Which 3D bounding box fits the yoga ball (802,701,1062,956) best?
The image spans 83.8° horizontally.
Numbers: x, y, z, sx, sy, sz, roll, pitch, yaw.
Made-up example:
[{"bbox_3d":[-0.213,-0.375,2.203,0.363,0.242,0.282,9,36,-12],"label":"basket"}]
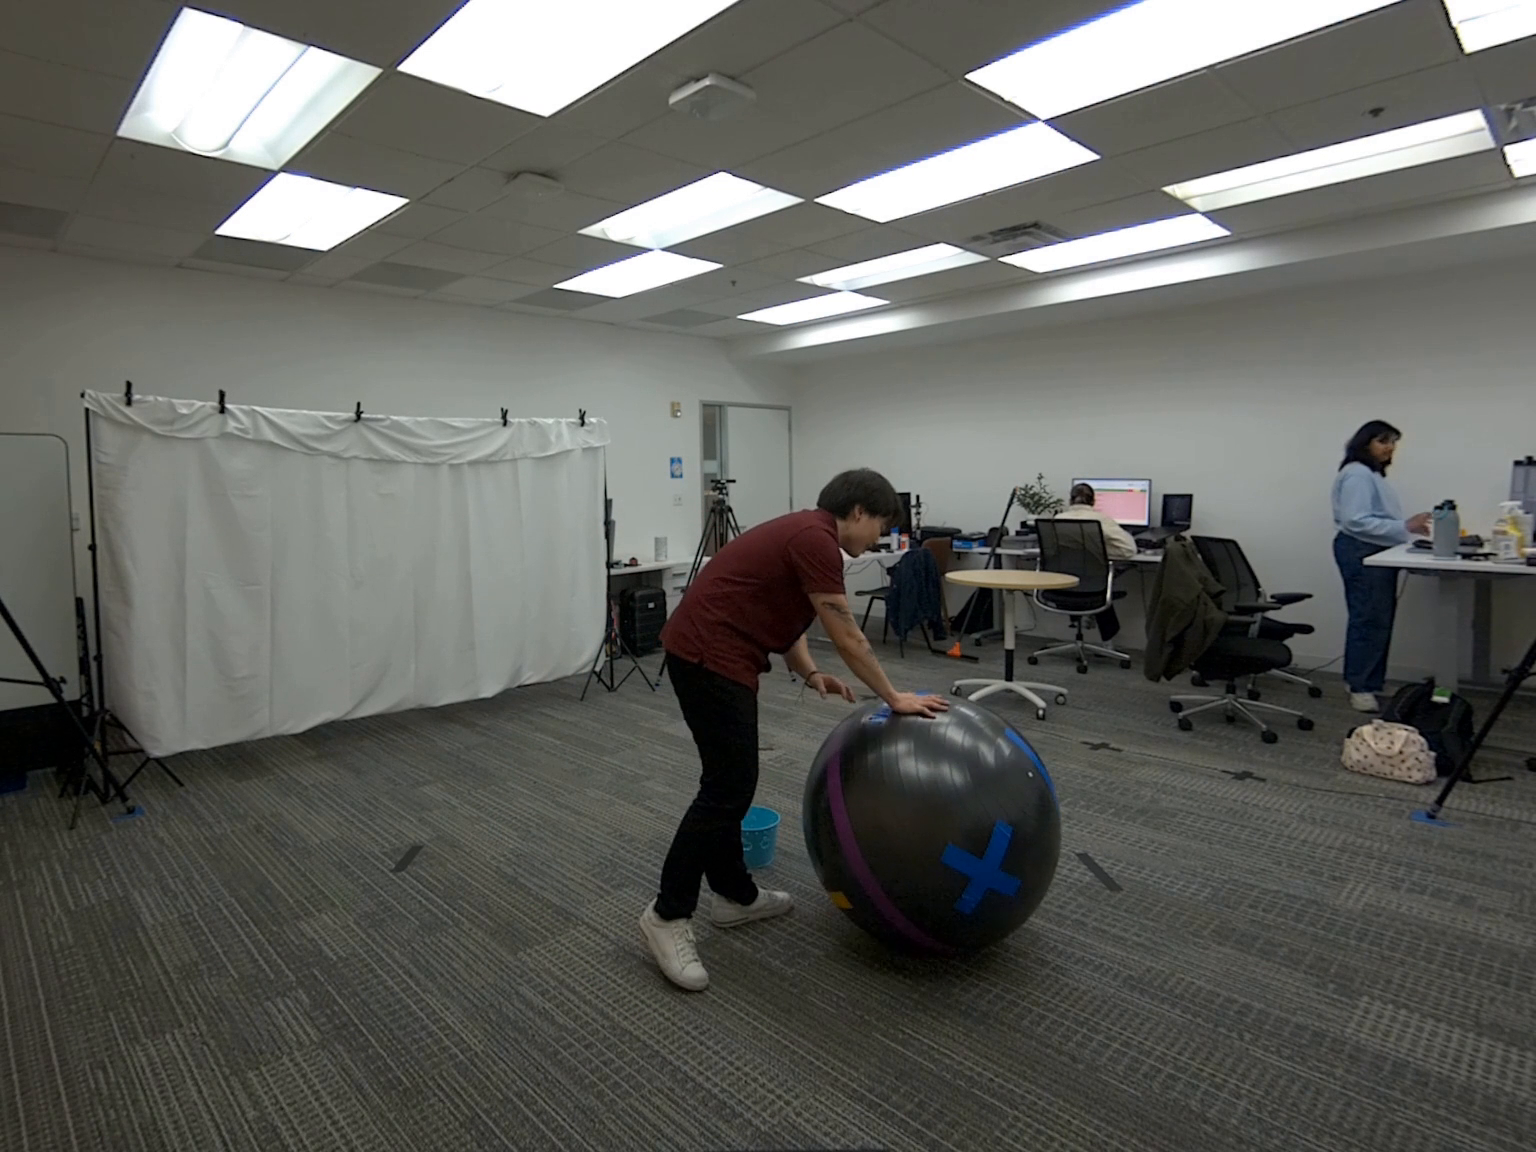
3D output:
[{"bbox_3d":[0.500,0.745,2.595,0.757,0.755,0.762,-1,5,-2],"label":"yoga ball"}]
